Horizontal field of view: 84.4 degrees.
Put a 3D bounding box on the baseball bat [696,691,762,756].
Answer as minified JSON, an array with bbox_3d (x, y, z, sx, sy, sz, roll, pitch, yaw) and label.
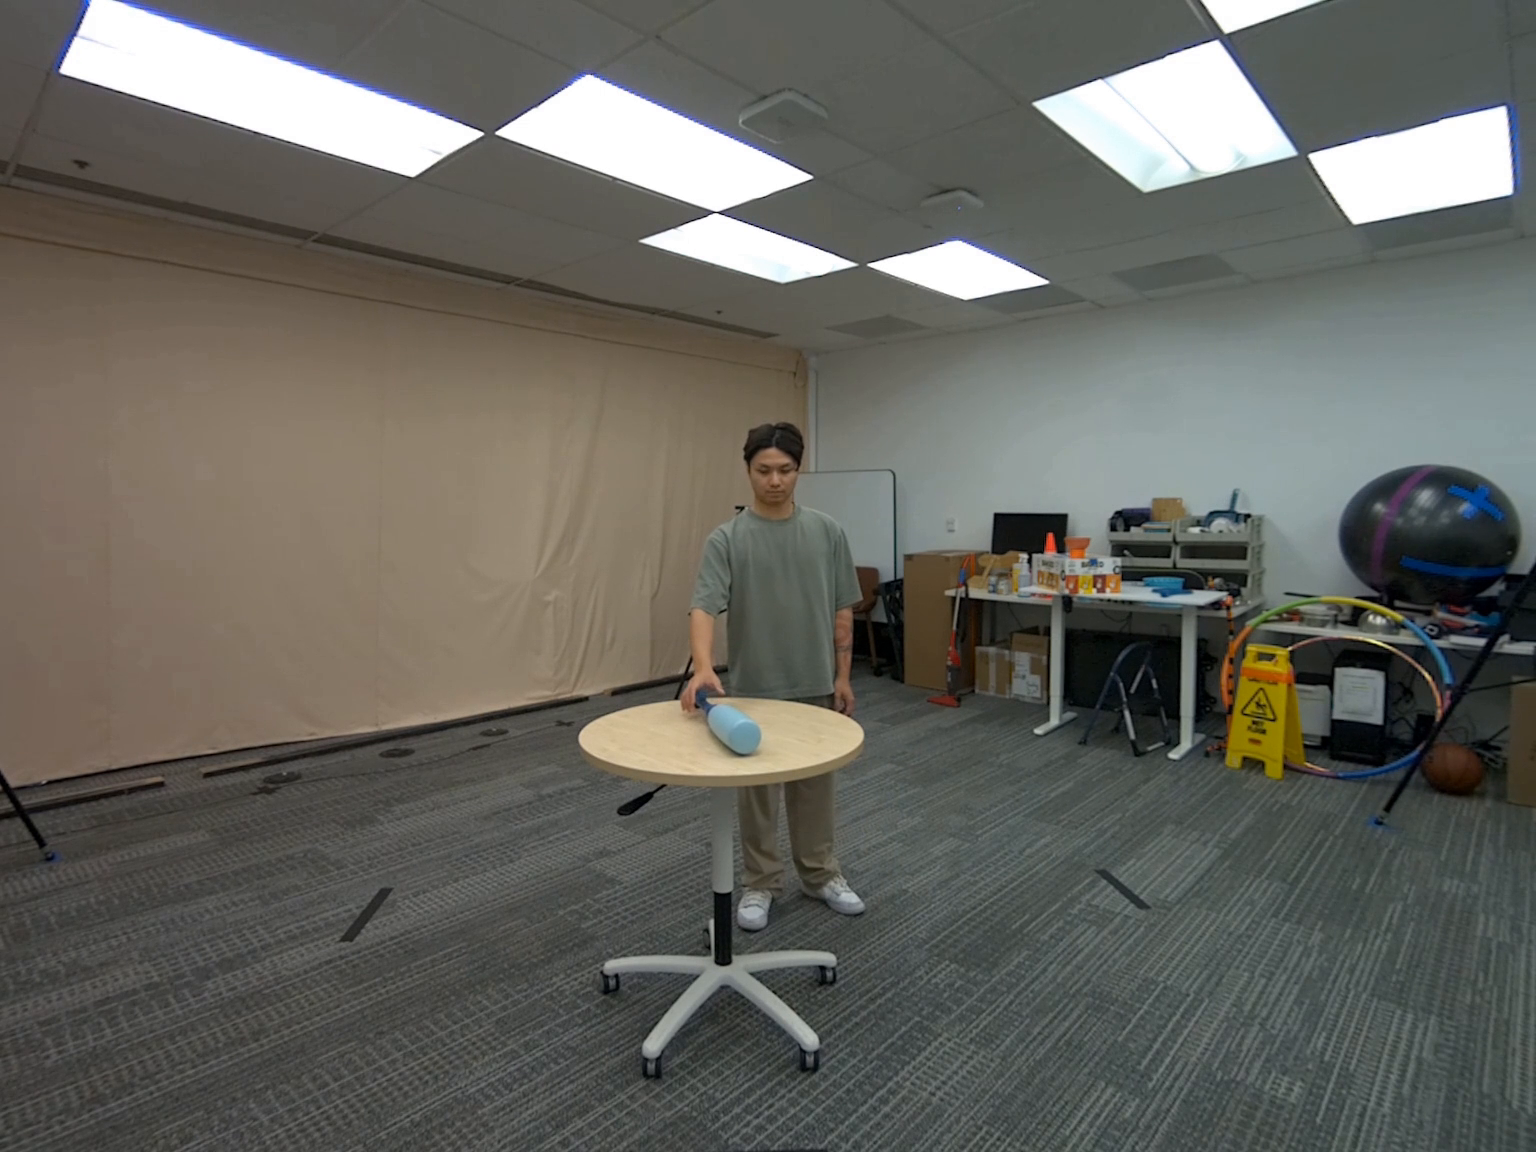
[{"bbox_3d":[-0.131,0.380,2.285,0.087,0.089,0.553,-1,1,-18],"label":"baseball bat"}]
